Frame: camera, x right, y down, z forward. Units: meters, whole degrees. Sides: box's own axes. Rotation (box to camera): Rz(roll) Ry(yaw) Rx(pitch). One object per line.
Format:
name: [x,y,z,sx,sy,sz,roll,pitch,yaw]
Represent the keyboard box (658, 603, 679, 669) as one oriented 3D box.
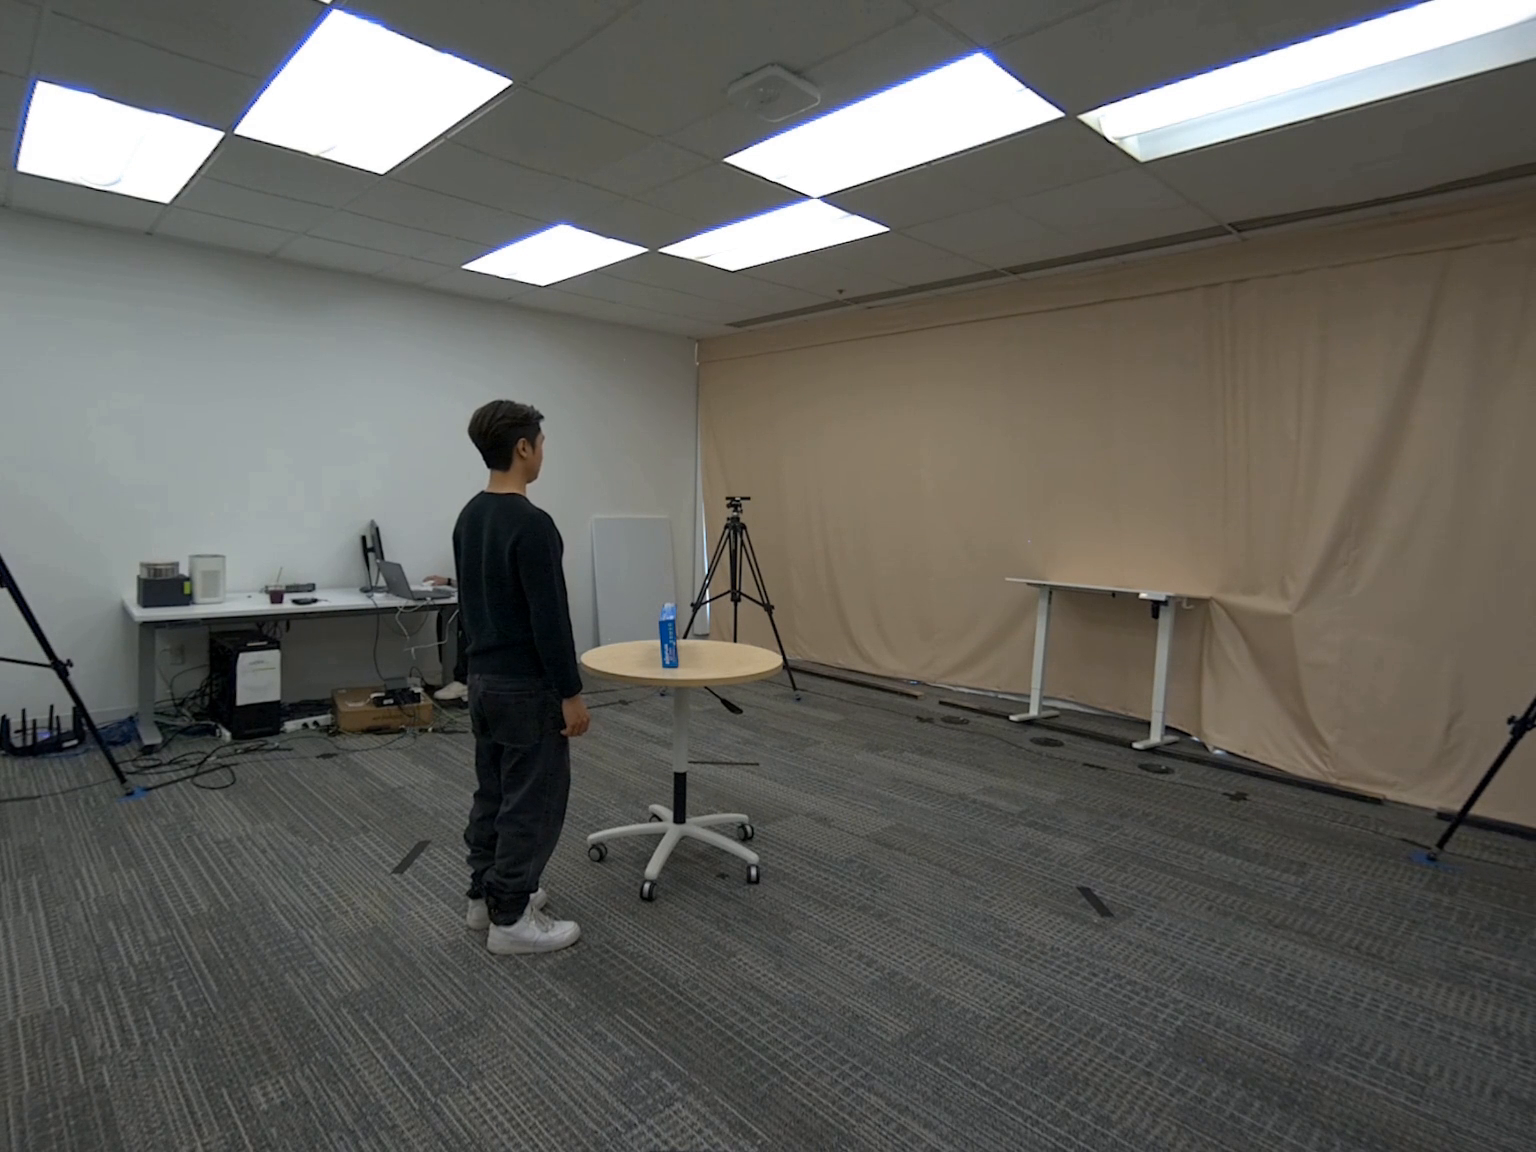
keyboard box: [-0.381,0.220,3.218,0.059,0.175,0.439,-4,6,-4]
